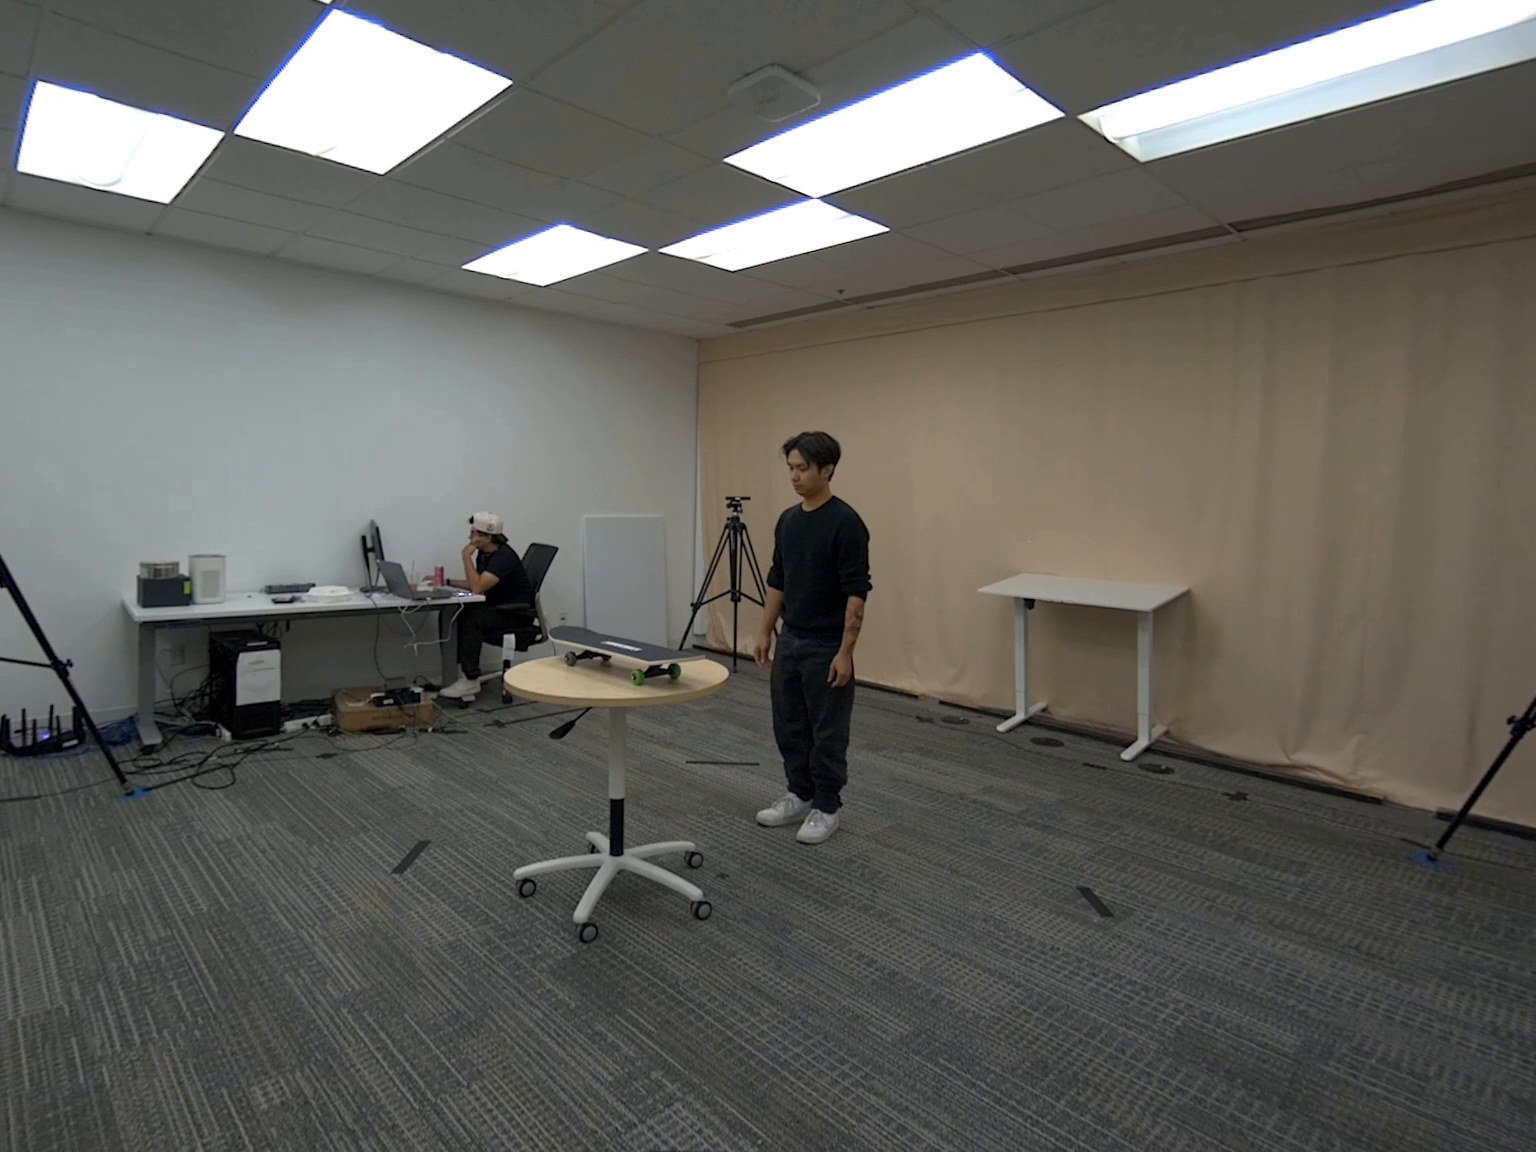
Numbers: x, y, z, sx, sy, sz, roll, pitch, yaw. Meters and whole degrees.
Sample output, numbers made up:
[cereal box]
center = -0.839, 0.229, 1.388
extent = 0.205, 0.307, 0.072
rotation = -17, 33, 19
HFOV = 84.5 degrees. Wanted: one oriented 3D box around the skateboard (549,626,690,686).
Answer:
[skateboard]
center = -0.518, 0.281, 2.925
extent = 0.189, 0.110, 0.806
rotation = -5, 8, -45
